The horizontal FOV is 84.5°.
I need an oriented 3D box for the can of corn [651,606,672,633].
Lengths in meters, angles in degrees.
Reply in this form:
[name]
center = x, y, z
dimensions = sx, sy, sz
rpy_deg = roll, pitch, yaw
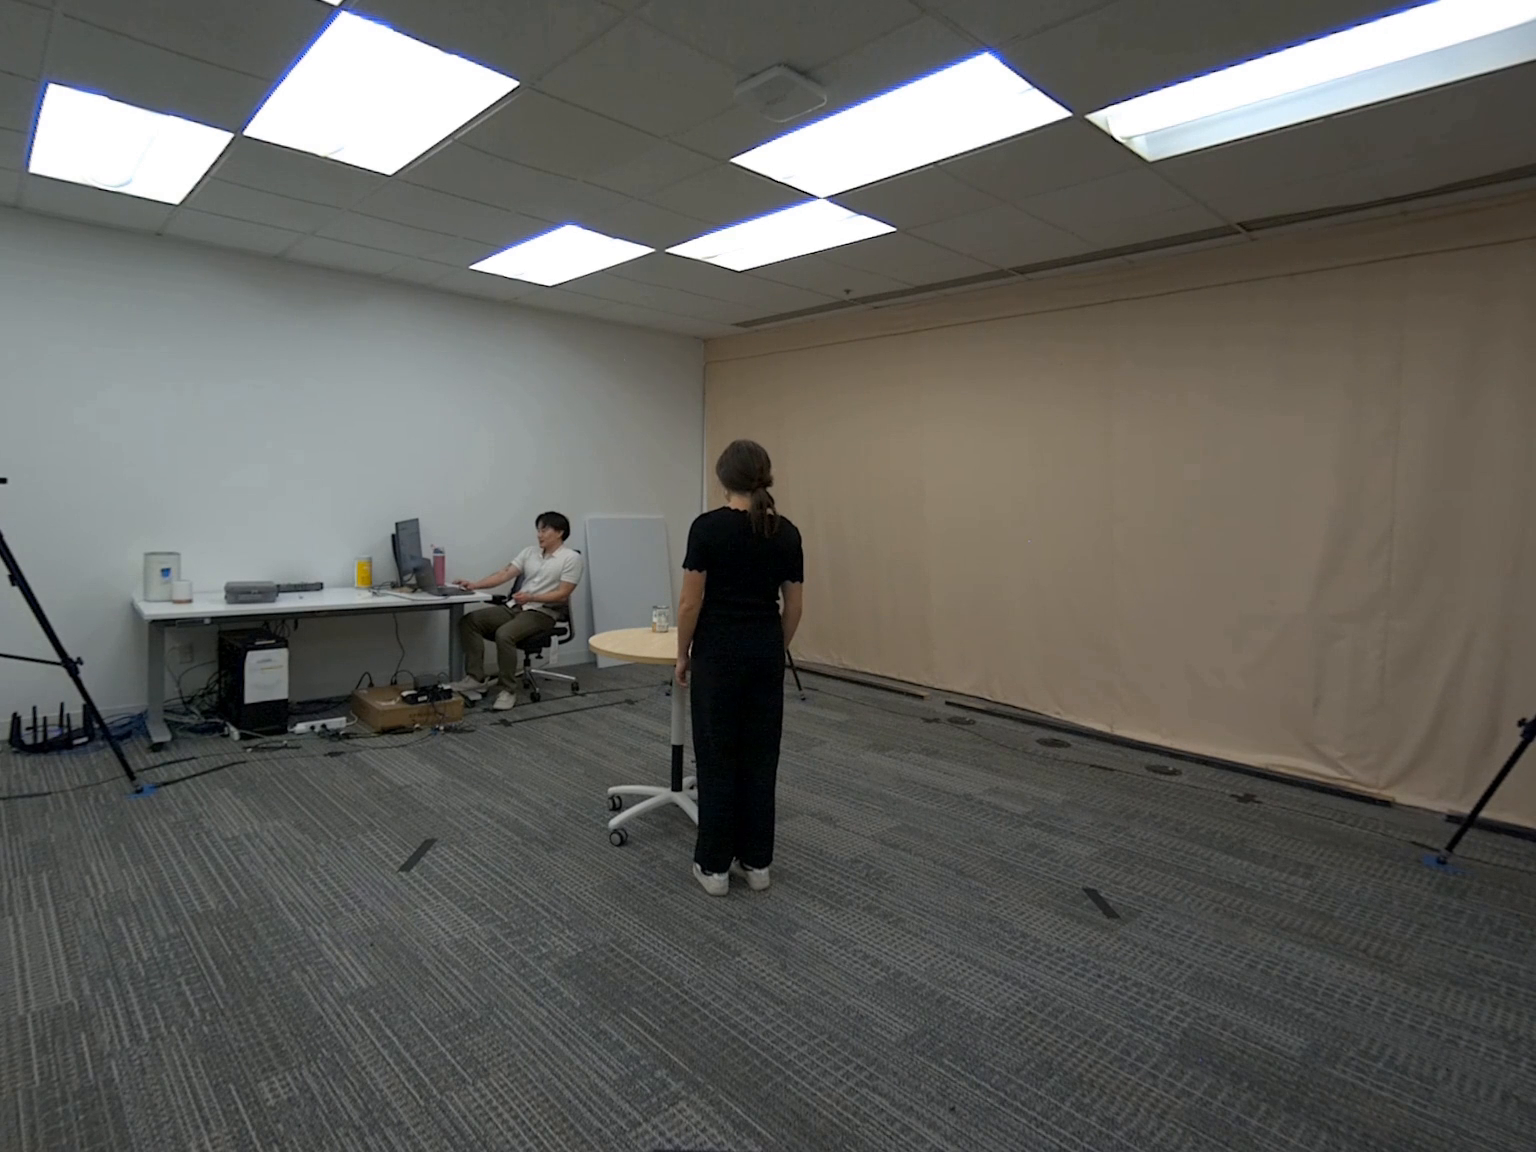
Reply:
[can of corn]
center = -0.496, 0.196, 3.796
dimensions = 0.074, 0.111, 0.074
rpy_deg = 2, 1, -1
